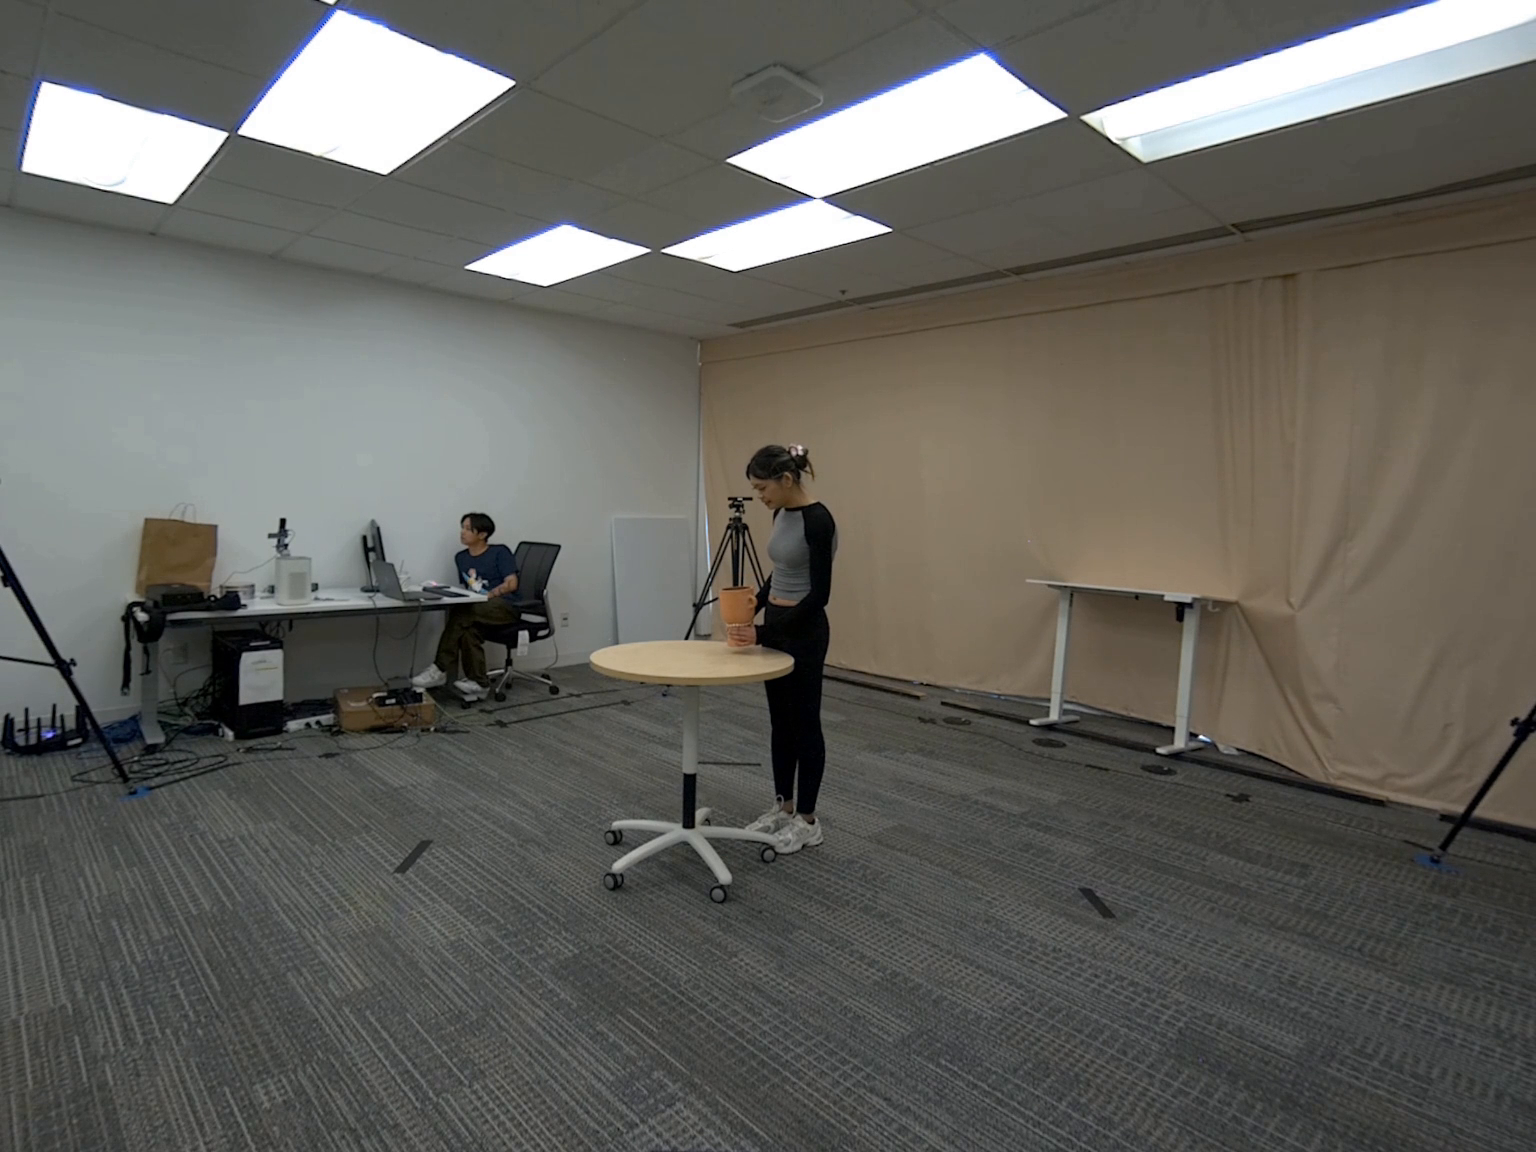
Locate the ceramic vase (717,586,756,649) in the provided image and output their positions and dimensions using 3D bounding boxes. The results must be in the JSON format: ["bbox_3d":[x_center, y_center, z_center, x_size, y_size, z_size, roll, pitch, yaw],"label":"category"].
[{"bbox_3d":[-0.117,0.156,3.260,0.133,0.219,0.160,-4,5,-11],"label":"ceramic vase"}]
